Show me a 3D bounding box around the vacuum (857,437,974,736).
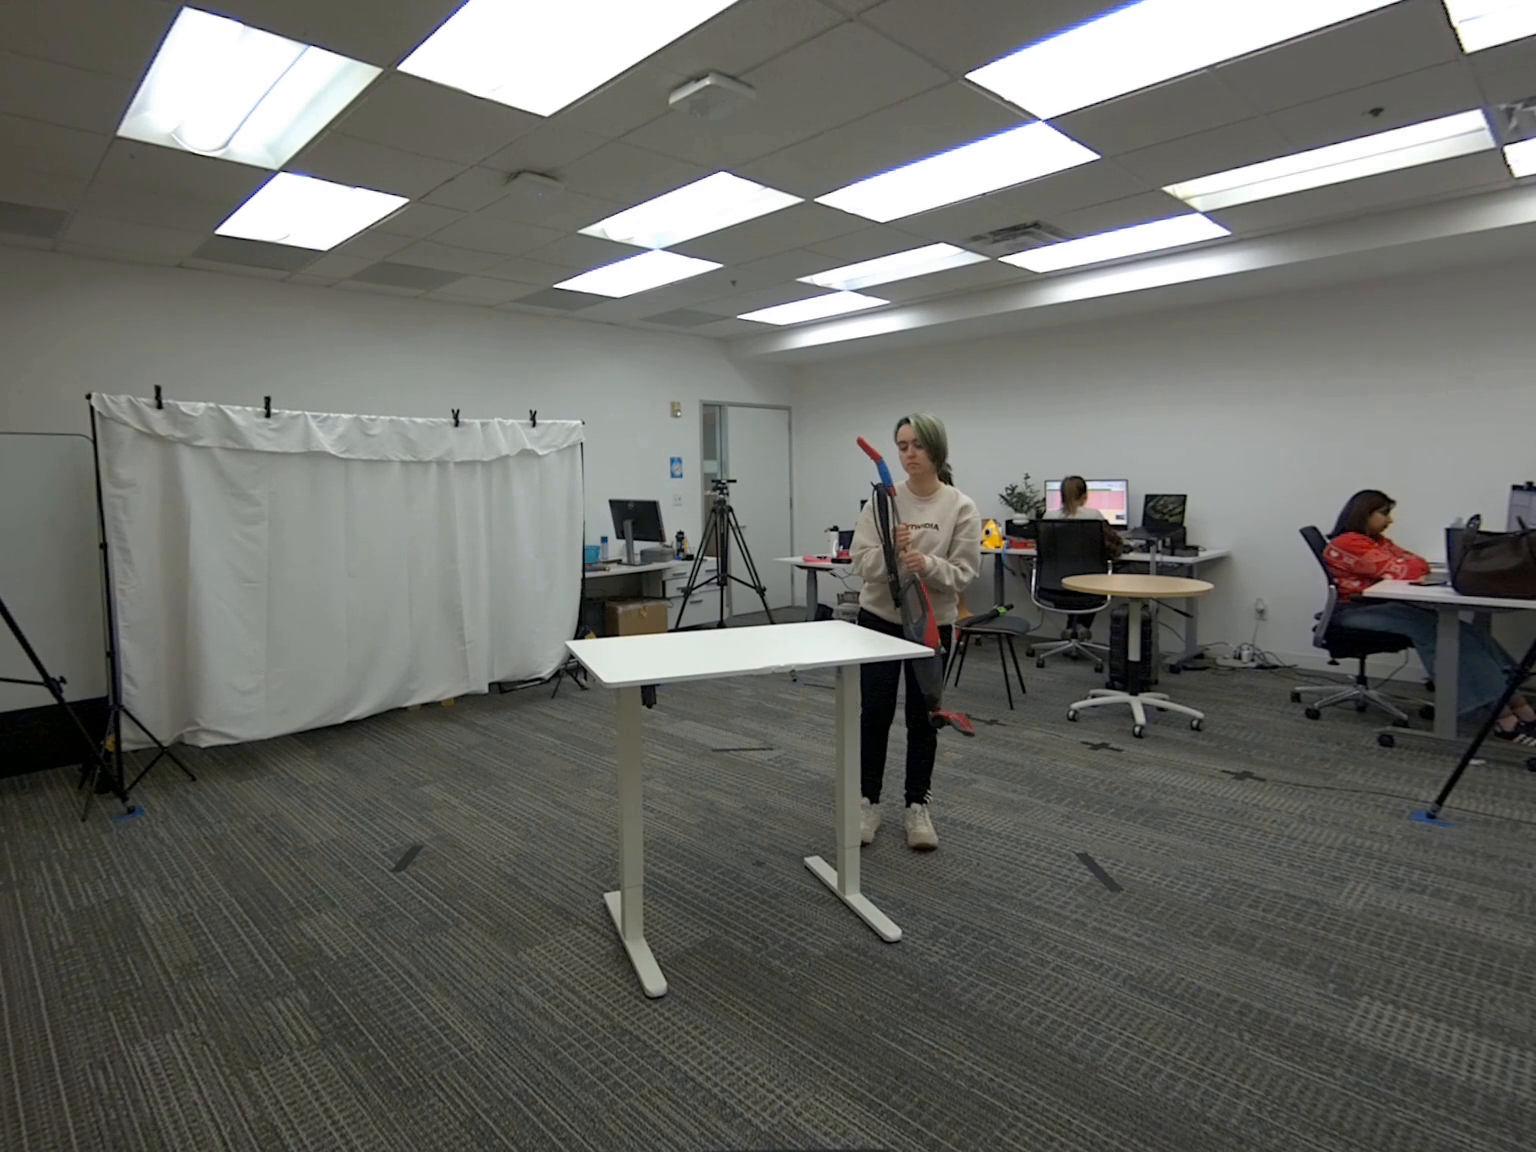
[{"bbox_3d":[0.485,0.017,3.012,0.144,1.051,0.252,-17,-1,1],"label":"vacuum"}]
